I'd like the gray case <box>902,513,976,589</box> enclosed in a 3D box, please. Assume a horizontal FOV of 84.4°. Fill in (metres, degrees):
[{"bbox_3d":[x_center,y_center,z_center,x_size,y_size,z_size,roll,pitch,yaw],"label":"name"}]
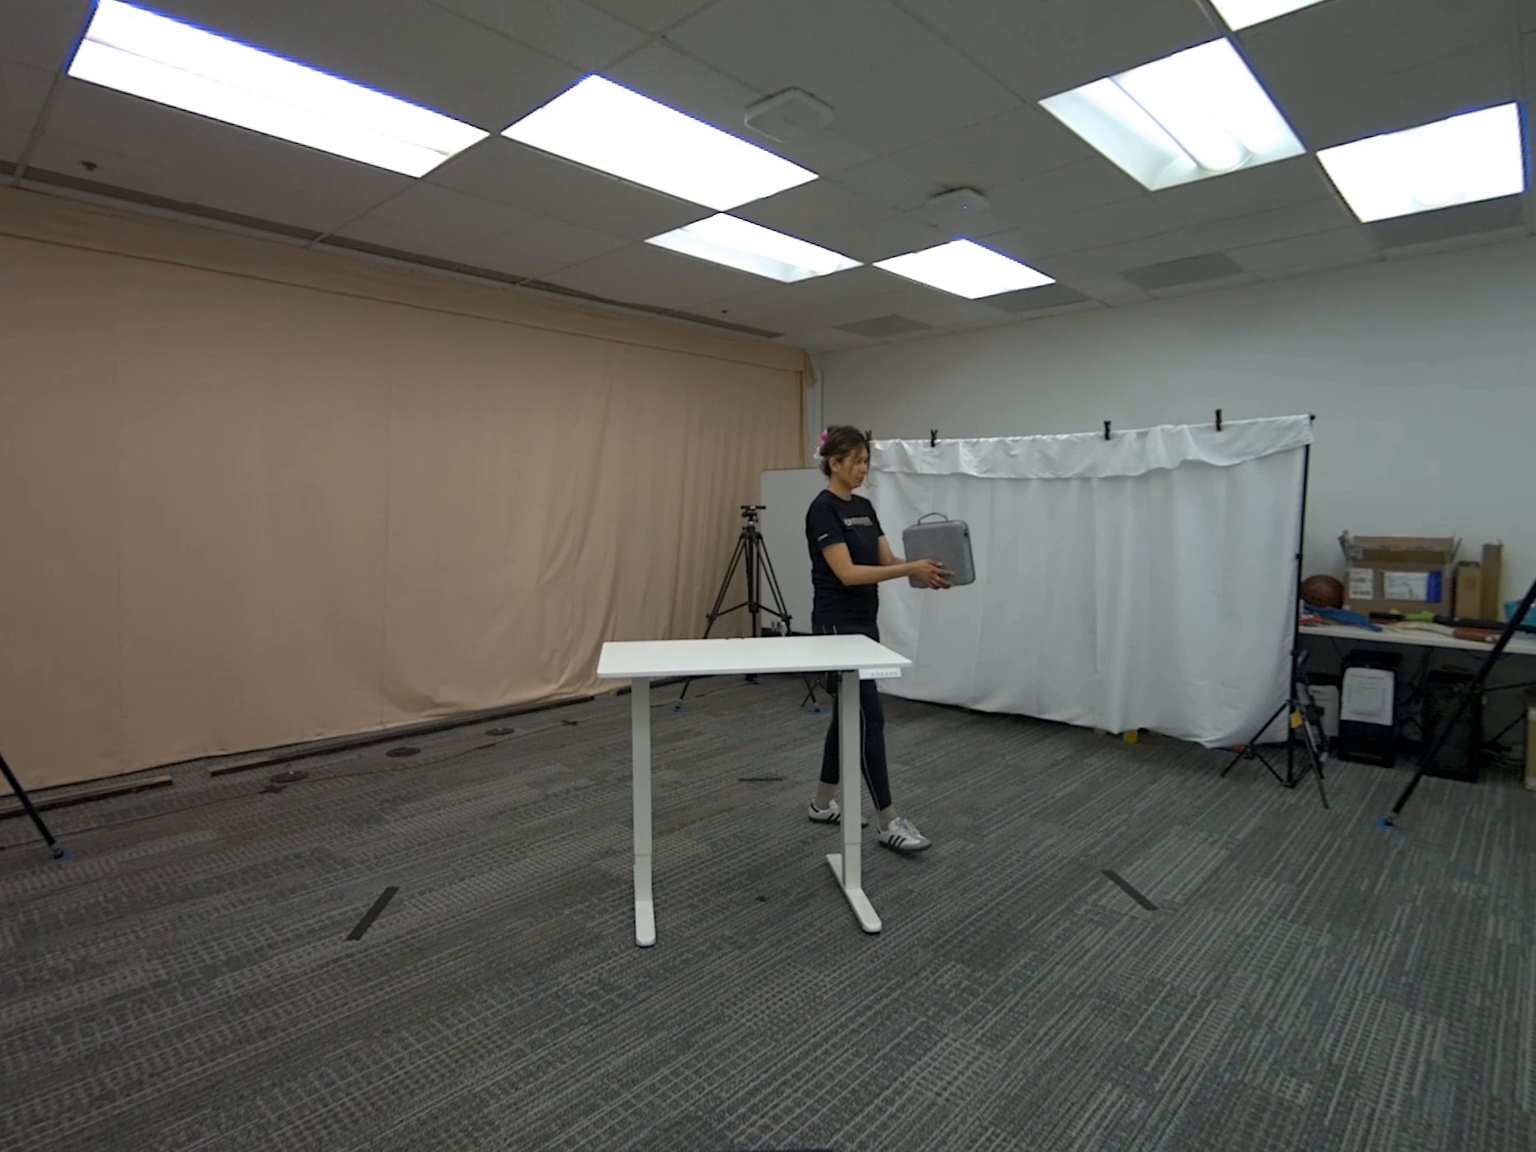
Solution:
[{"bbox_3d":[0.684,-0.088,3.322,0.263,0.260,0.102,-8,3,27],"label":"gray case"}]
